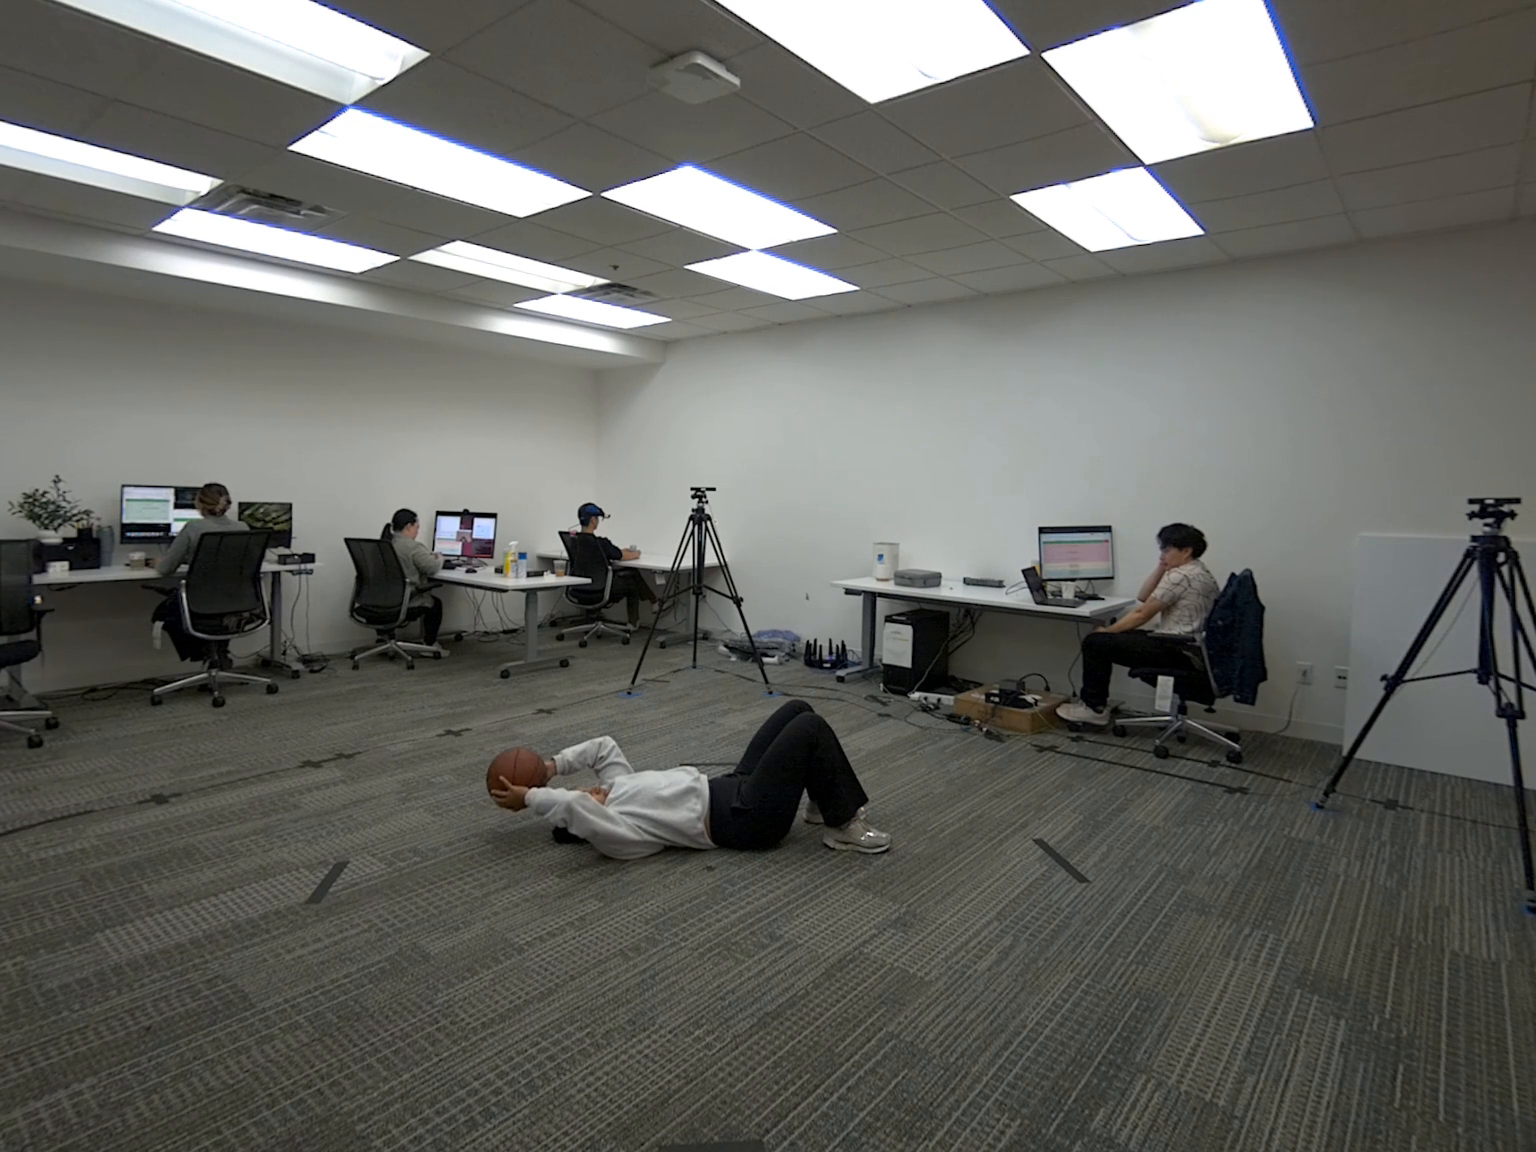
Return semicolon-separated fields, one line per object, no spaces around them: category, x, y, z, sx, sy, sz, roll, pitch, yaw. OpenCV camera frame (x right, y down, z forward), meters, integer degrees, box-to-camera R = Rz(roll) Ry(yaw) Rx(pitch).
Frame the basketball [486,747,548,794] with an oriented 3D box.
basketball;-1.001;0.789;3.371;0.235;0.235;0.237;1;4;-2
